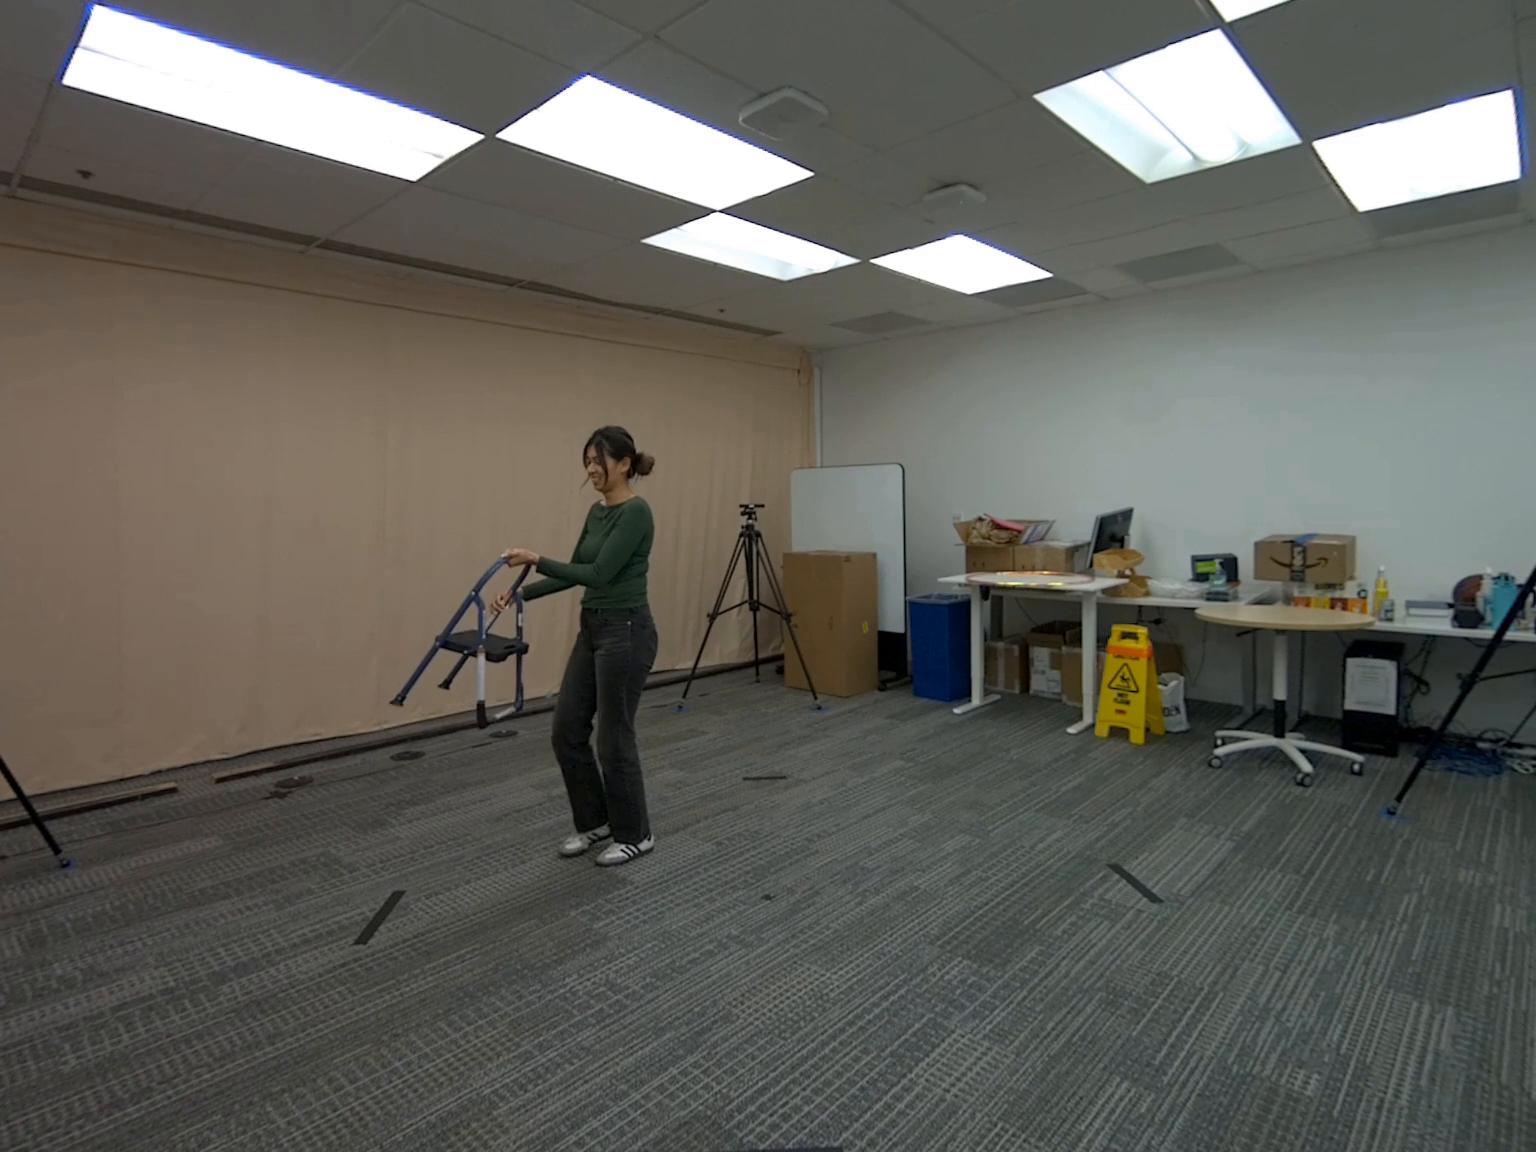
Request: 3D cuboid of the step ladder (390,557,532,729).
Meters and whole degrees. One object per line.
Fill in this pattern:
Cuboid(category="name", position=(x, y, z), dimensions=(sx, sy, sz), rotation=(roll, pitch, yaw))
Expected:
Cuboid(category="step ladder", position=(-1.038, 0.190, 3.090), dimensions=(0.351, 0.606, 0.428), rotation=(13, 0, 4))
